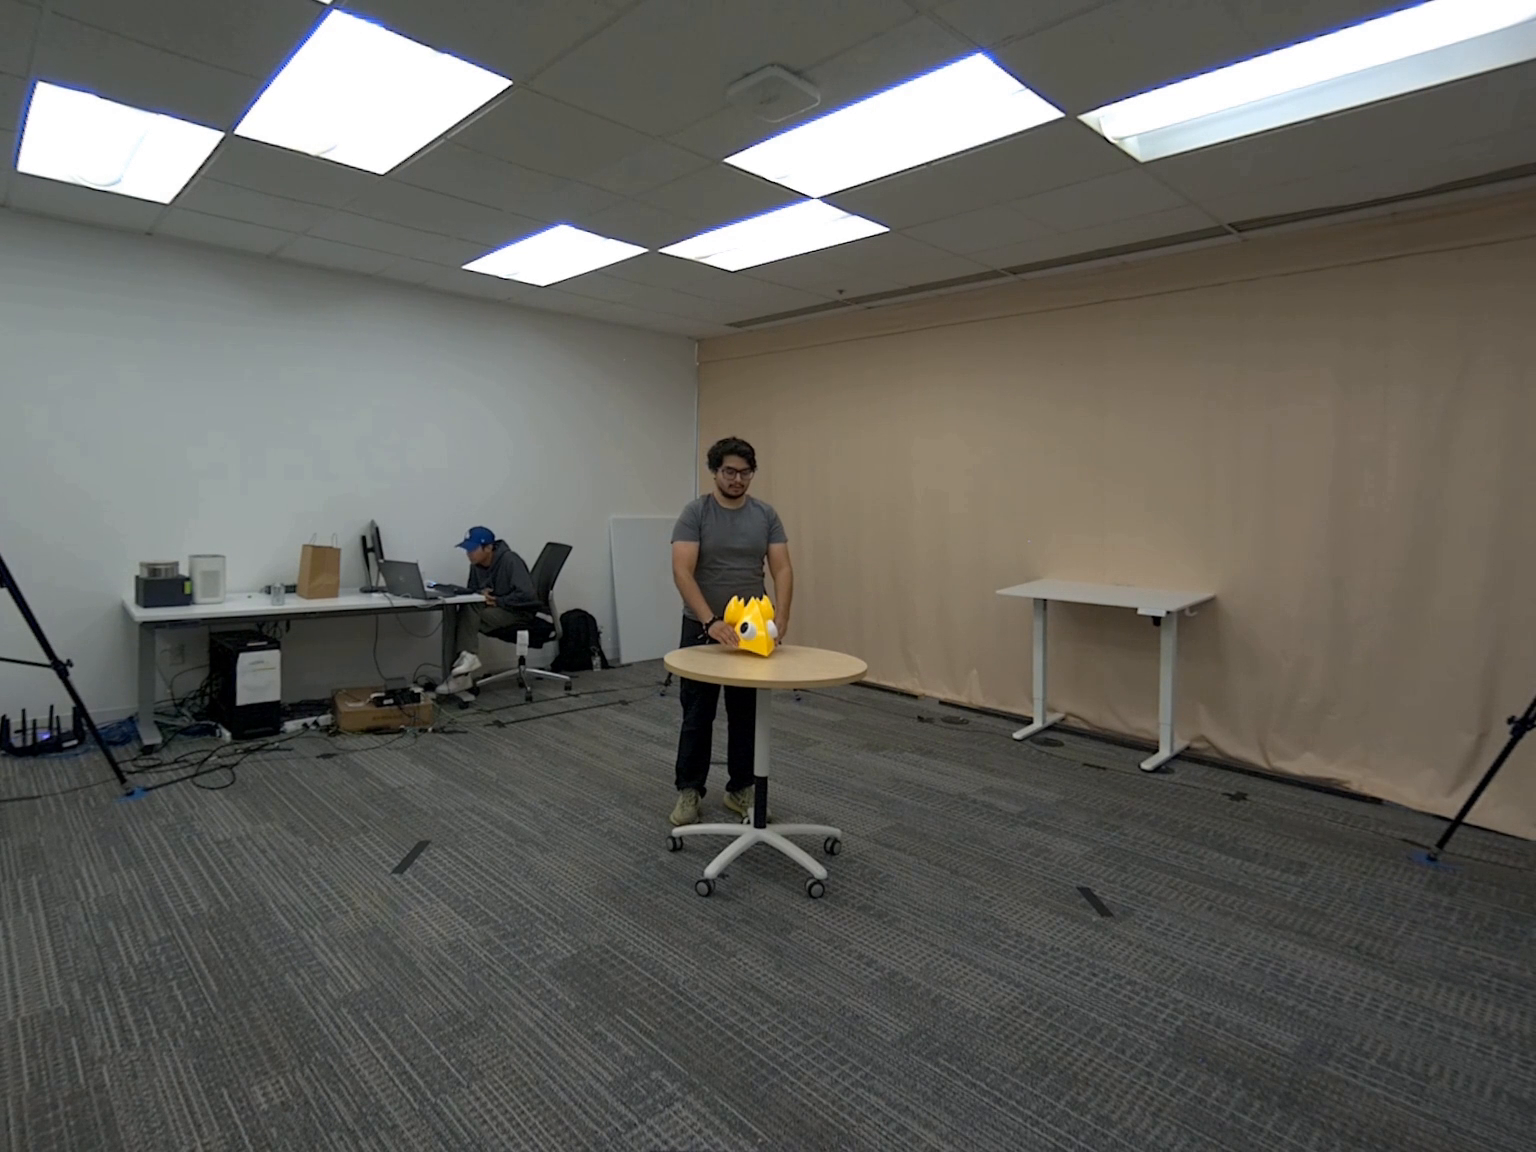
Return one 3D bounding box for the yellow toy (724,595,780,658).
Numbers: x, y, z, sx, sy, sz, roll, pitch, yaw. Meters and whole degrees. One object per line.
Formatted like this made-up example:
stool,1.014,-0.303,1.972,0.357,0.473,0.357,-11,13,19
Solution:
yellow toy,-0.052,0.208,3.278,0.201,0.191,0.237,1,21,-21
